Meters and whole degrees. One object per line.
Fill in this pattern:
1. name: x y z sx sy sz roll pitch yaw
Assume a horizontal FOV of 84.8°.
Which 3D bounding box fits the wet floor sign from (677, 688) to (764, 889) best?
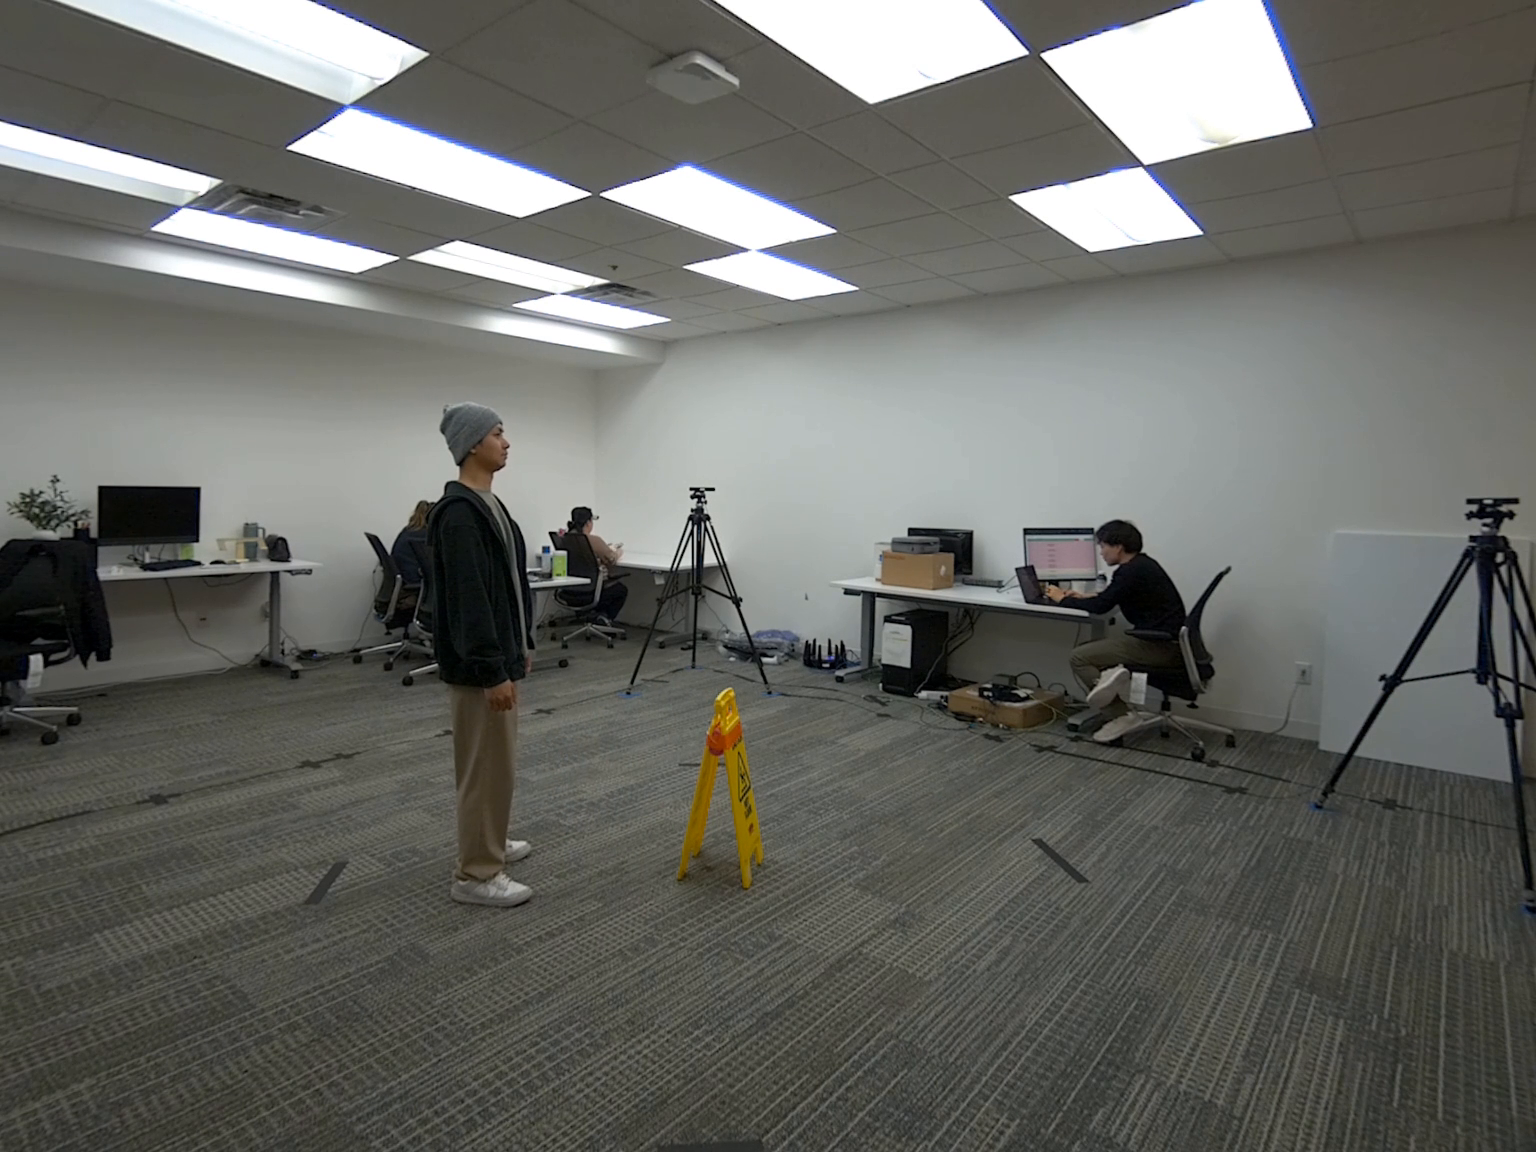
1. wet floor sign: -0.170 0.748 3.091 0.294 0.643 0.279 2 5 13
